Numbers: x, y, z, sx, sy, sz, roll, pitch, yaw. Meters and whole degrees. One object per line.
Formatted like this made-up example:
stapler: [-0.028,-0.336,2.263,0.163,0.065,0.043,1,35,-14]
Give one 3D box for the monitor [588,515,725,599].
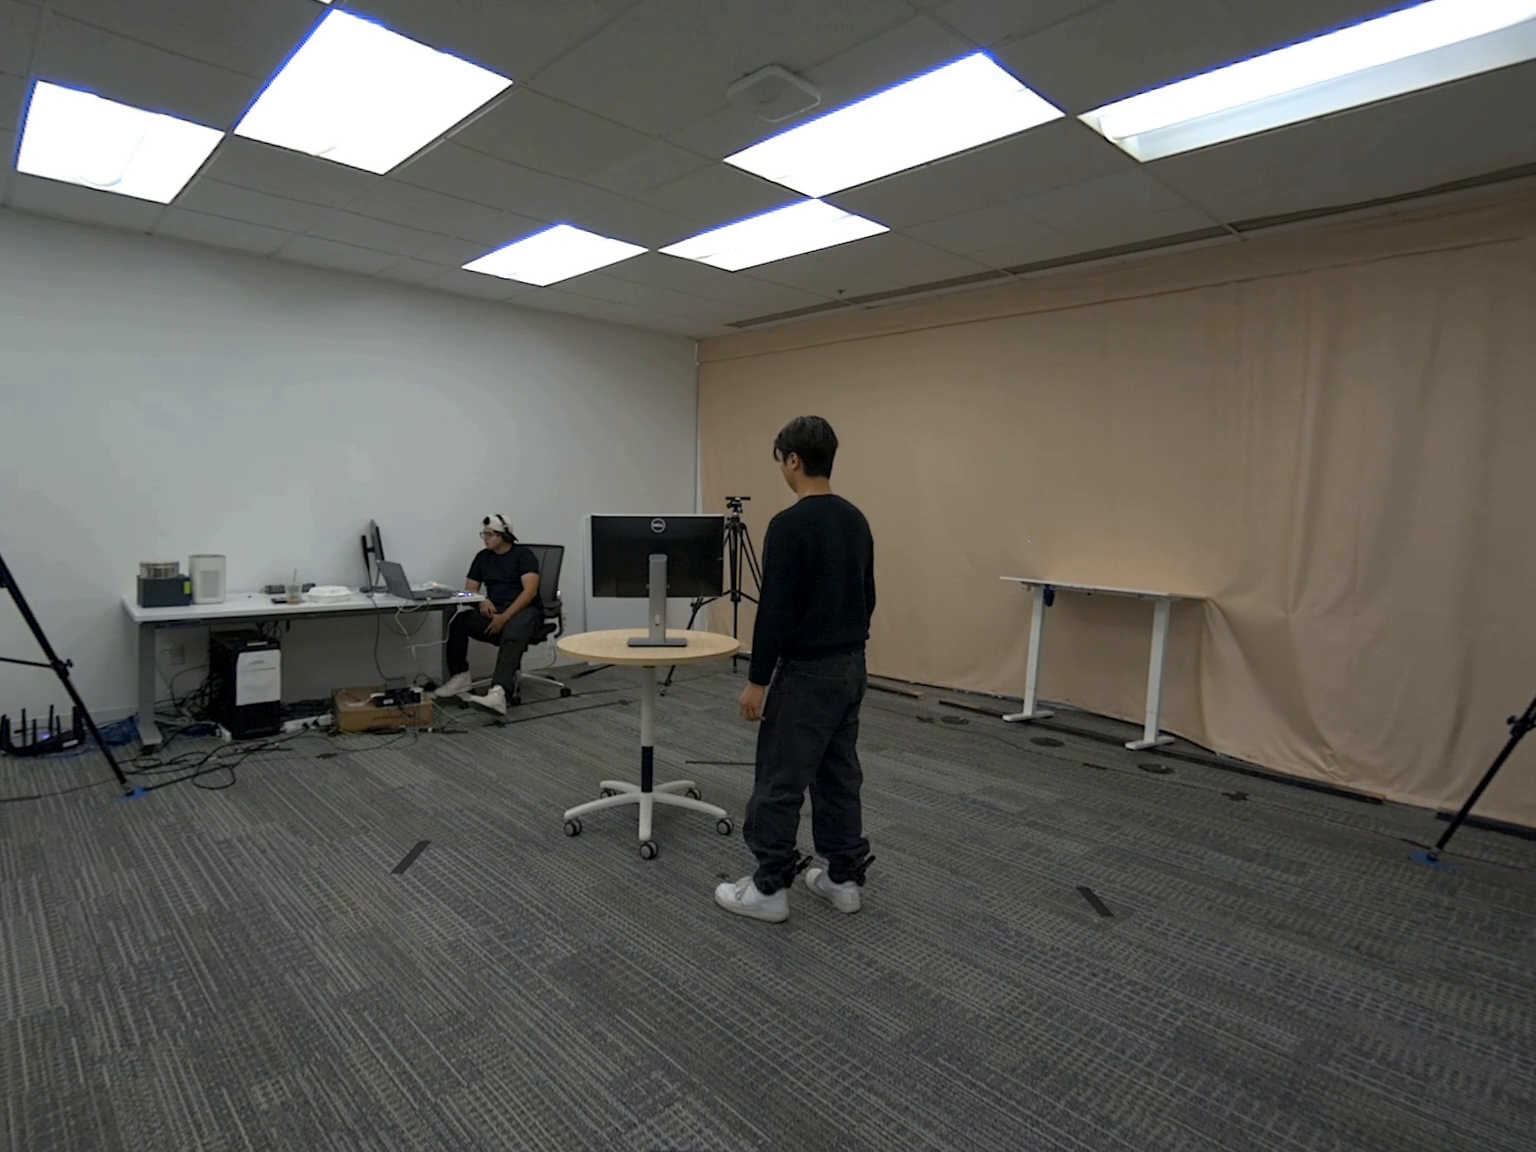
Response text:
monitor: [-0.462,0.015,3.514,0.527,0.516,0.175,0,0,-6]
